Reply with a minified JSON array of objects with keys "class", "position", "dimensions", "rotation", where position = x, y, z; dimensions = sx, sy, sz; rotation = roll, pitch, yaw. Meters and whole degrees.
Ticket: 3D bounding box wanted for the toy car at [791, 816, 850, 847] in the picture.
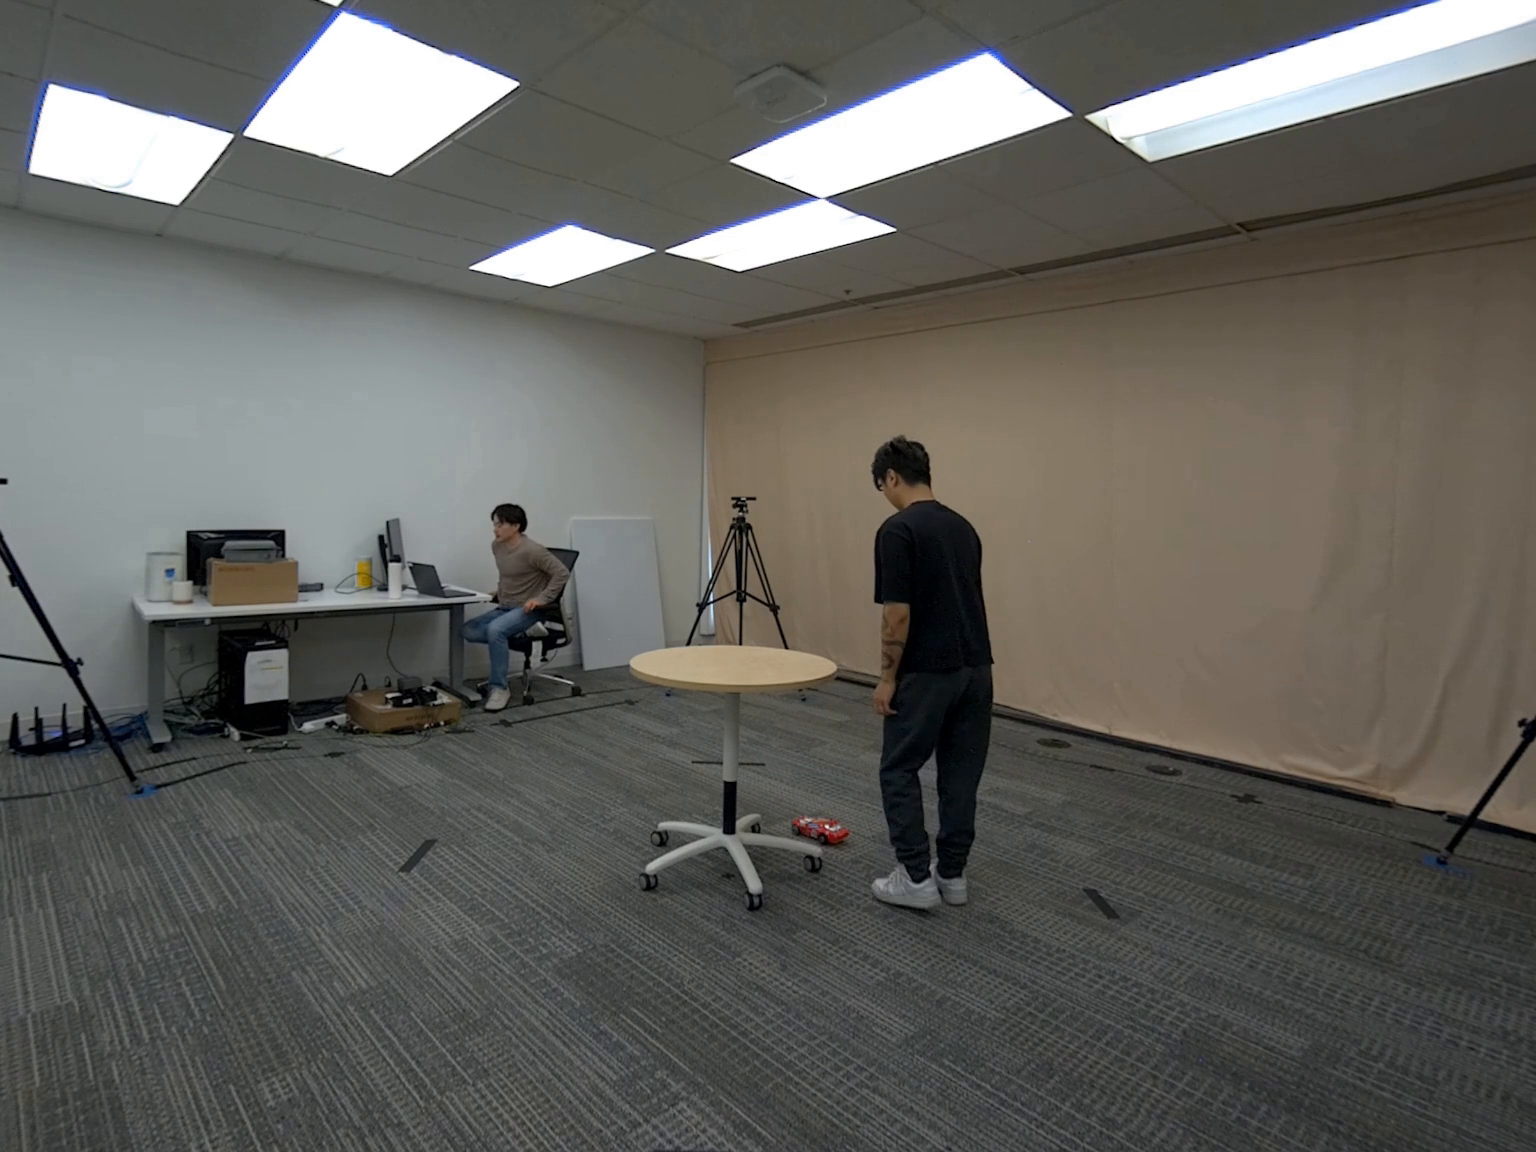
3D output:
[{"class":"toy car","position":[0.217,1.052,3.475],"dimensions":[0.259,0.083,0.127],"rotation":[-9,-5,43]}]
